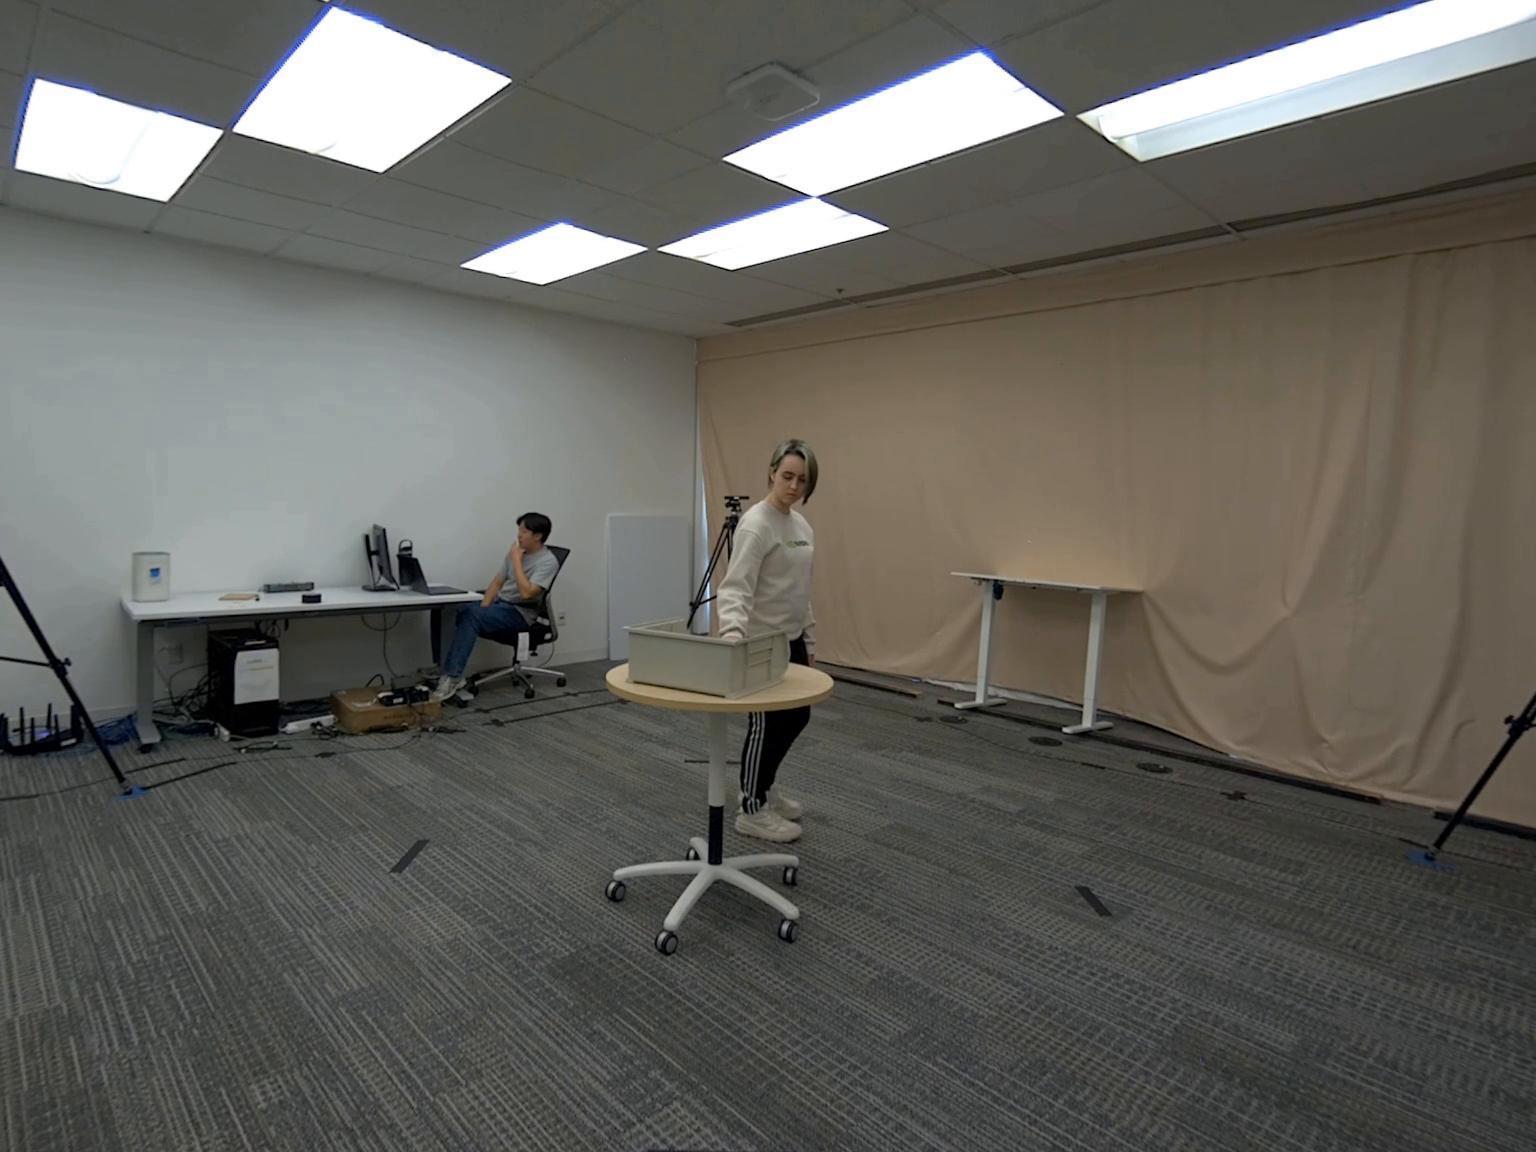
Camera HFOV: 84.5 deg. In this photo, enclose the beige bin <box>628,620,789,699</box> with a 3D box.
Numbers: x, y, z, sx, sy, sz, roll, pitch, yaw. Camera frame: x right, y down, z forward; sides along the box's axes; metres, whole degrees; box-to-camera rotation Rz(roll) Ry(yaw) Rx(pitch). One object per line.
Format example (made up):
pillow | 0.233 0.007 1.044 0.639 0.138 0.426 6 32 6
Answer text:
beige bin | -0.204 0.260 2.760 0.432 0.188 0.370 5 7 29
